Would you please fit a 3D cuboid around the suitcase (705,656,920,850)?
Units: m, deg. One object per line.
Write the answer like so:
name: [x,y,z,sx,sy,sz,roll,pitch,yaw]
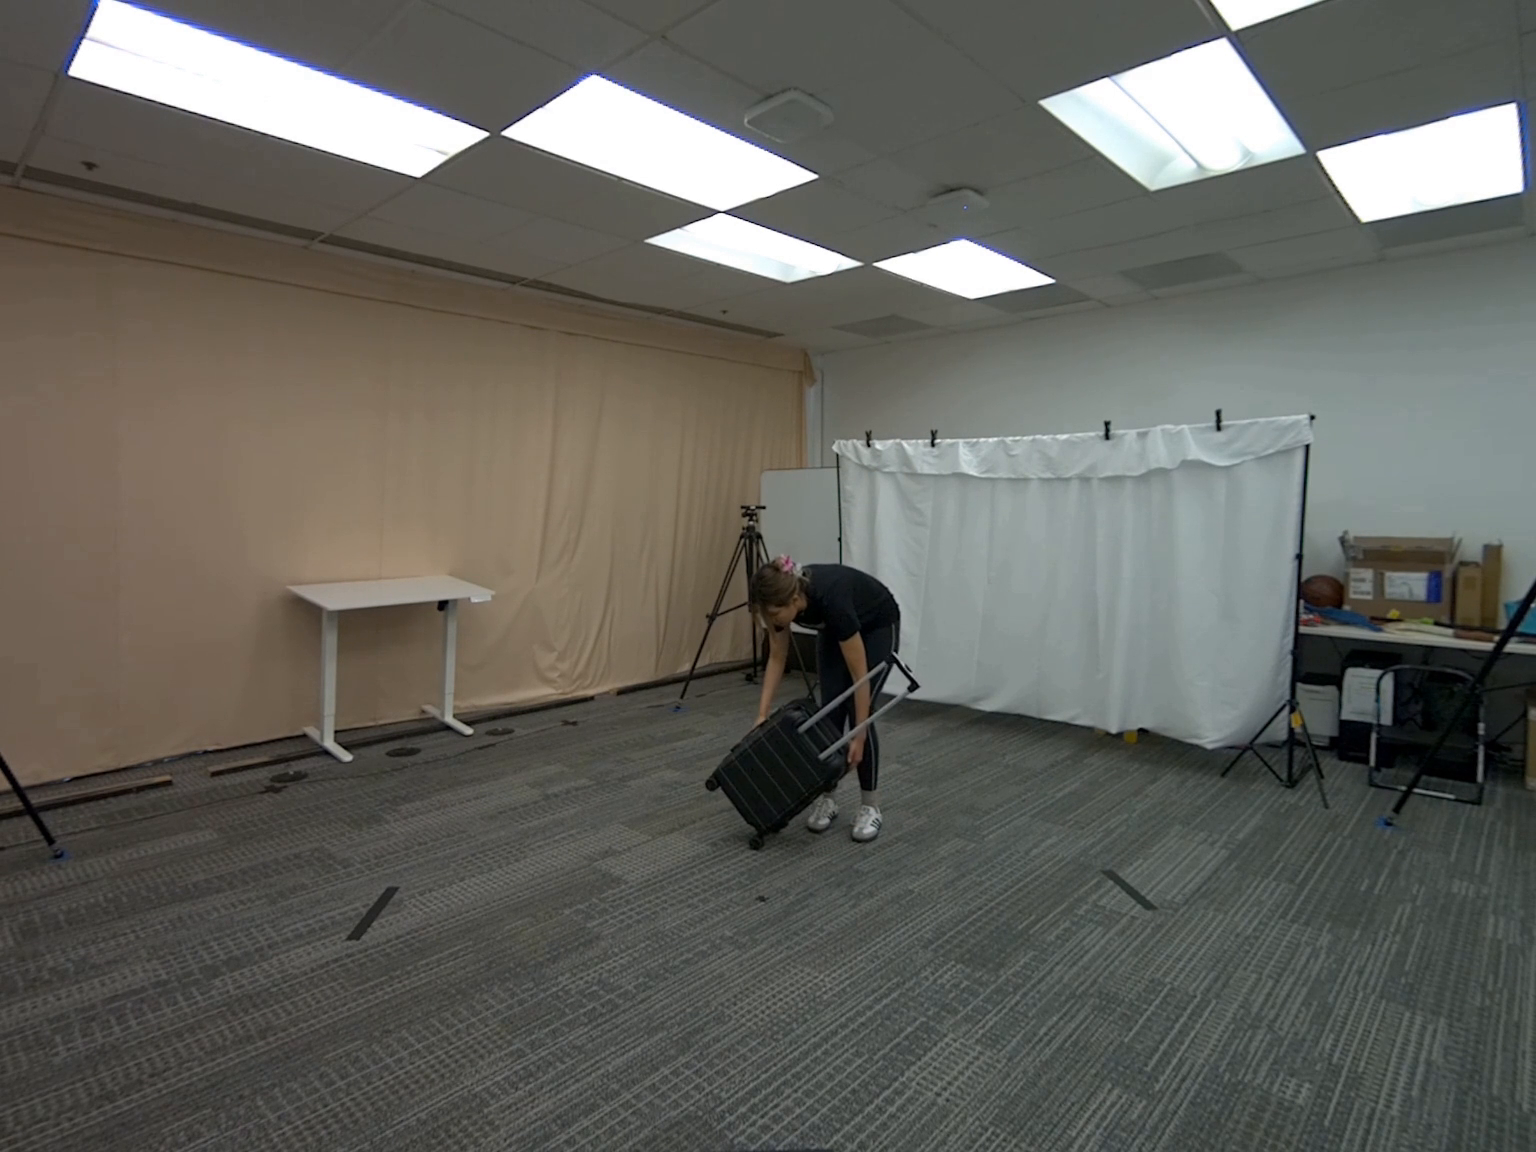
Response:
suitcase: [0.205,0.653,3.395,0.985,0.391,0.251,-43,-15,19]
